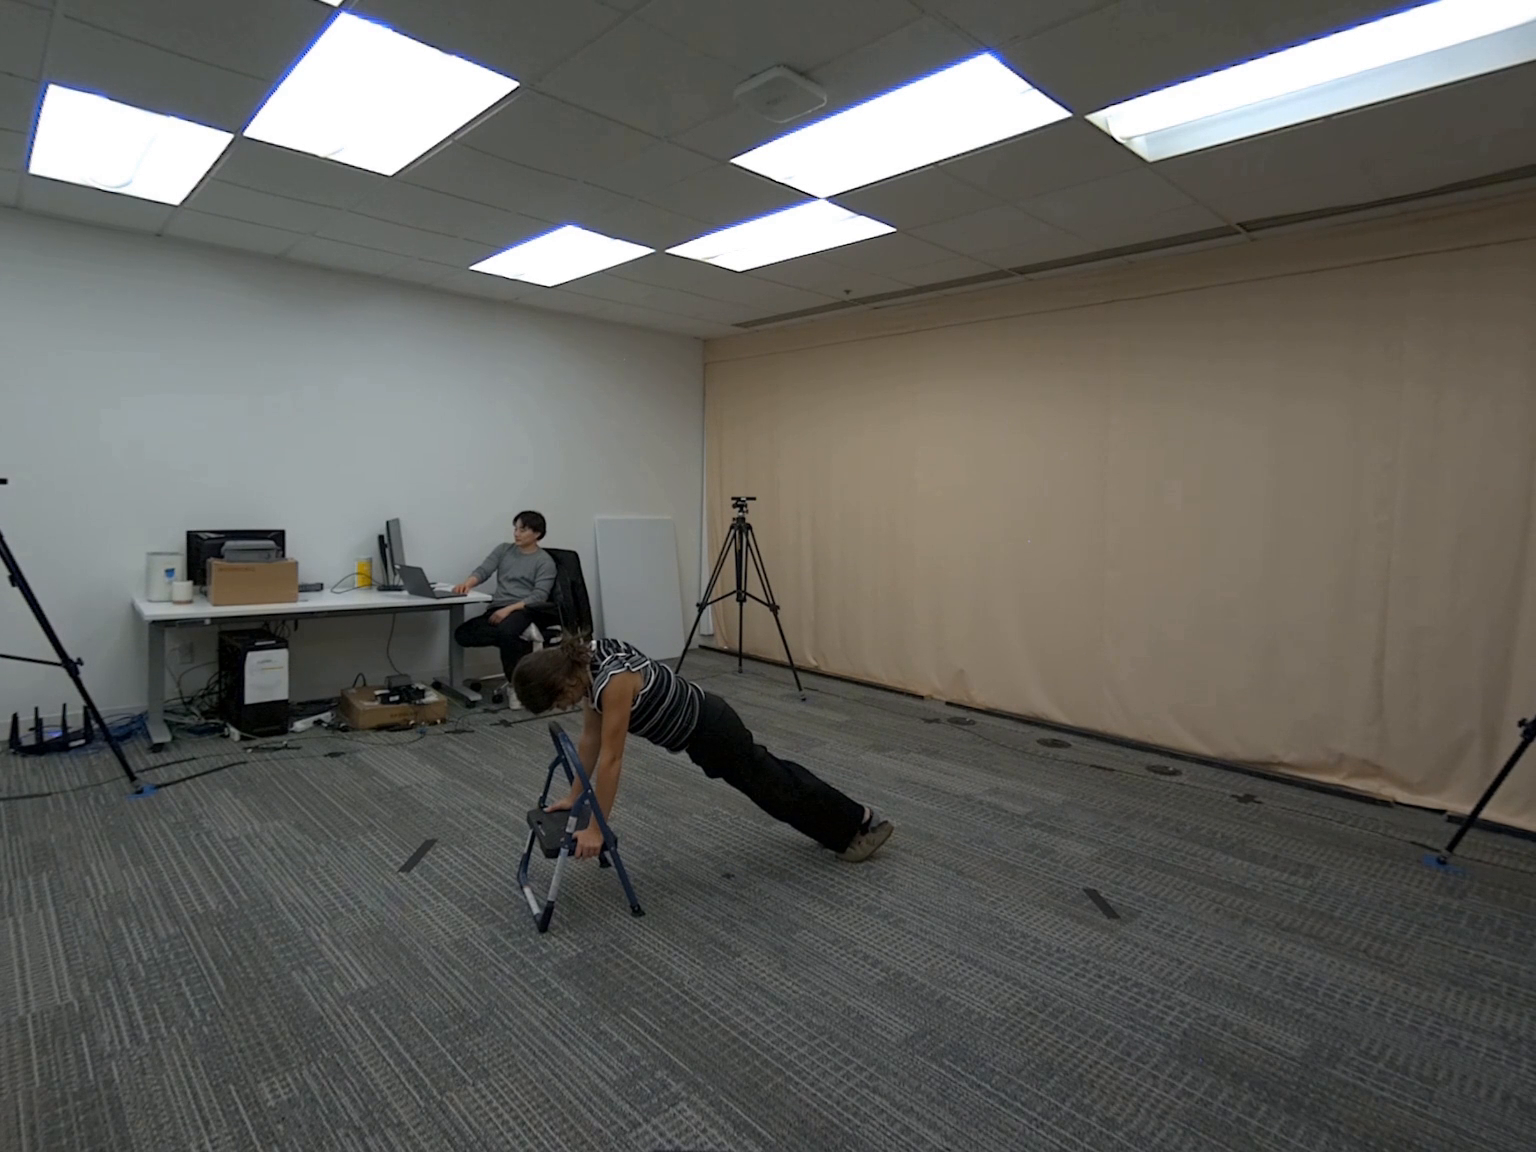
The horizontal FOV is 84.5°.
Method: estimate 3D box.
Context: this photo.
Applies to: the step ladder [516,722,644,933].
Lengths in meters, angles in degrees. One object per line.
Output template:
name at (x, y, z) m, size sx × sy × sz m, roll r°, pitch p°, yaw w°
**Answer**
step ladder at (-0.662, 0.814, 2.900) m, size 0.343 × 0.604 × 0.440 m, roll -1°, pitch 4°, yaw -27°
